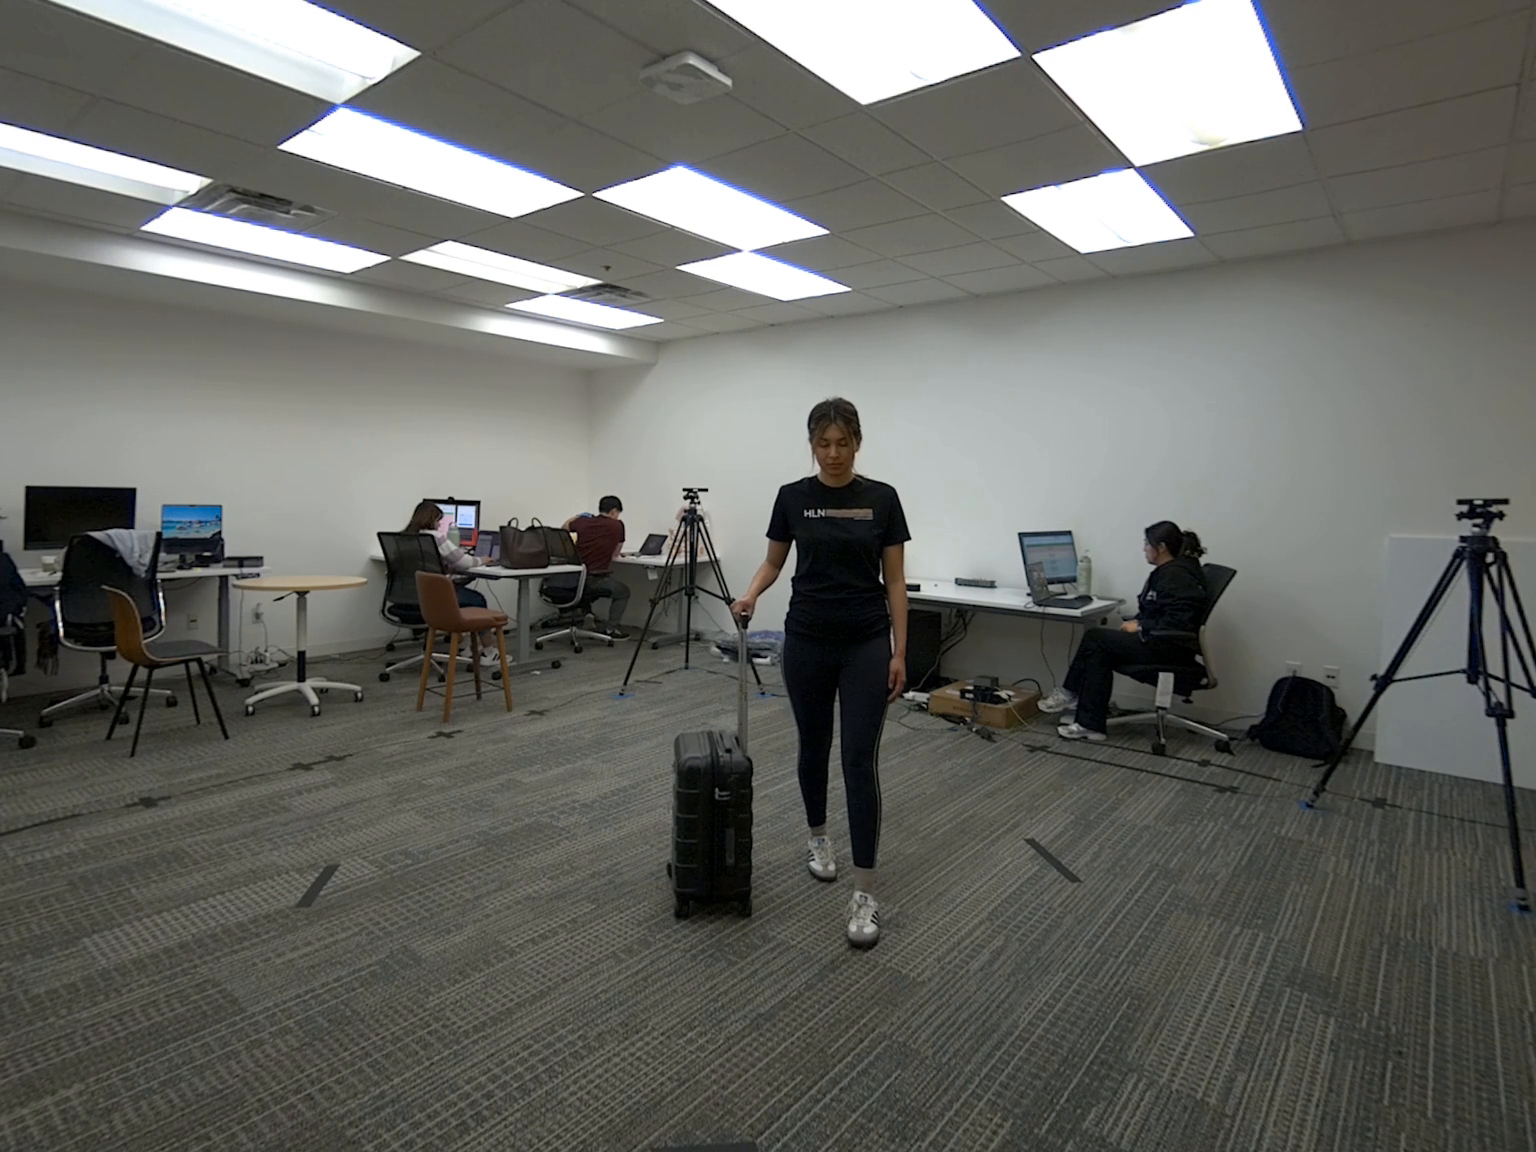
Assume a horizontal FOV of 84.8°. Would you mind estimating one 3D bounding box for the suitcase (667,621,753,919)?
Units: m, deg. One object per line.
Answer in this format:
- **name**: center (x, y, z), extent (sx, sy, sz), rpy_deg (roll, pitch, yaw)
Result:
- **suitcase**: center (-0.209, 0.621, 2.867), extent (0.255, 0.974, 0.388), rpy_deg (-2, 4, -8)
